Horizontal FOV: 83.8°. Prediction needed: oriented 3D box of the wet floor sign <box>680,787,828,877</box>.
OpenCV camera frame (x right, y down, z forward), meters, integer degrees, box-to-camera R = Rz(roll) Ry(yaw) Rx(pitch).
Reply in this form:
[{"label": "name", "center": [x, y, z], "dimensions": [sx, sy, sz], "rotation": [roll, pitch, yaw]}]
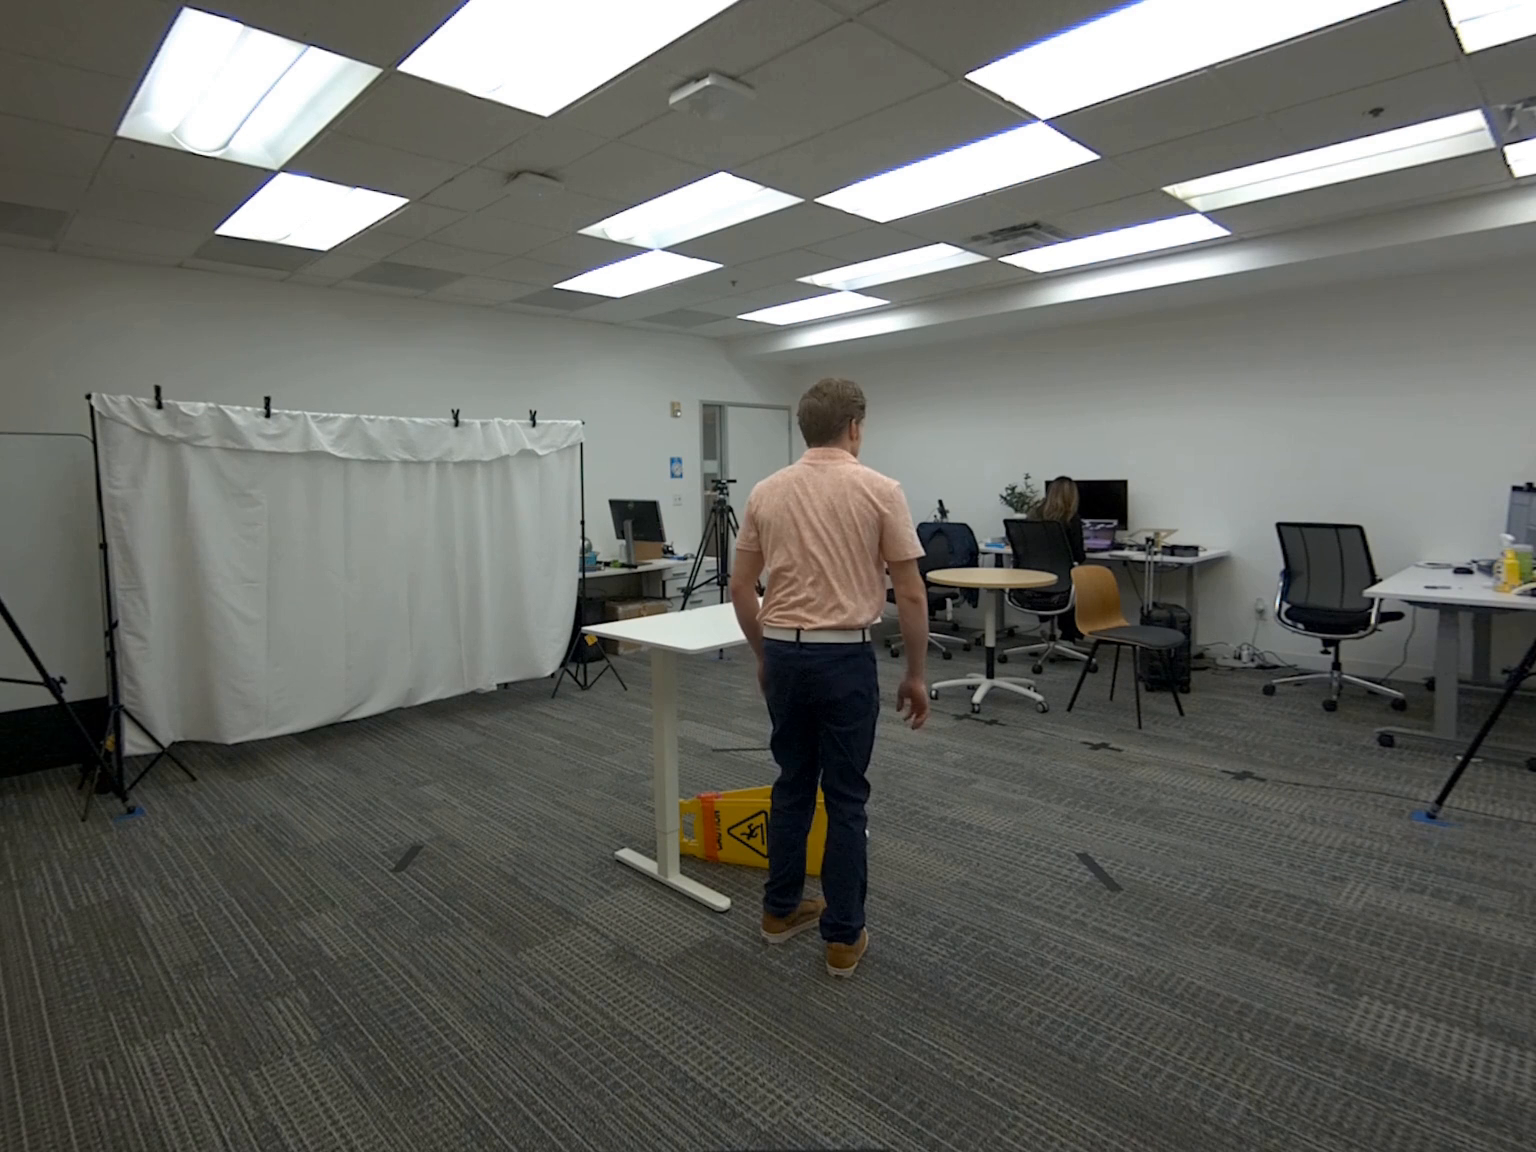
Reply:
[{"label": "wet floor sign", "center": [-0.032, 0.916, 3.133], "dimensions": [0.652, 0.281, 0.288], "rotation": [-4, 5, 10]}]
